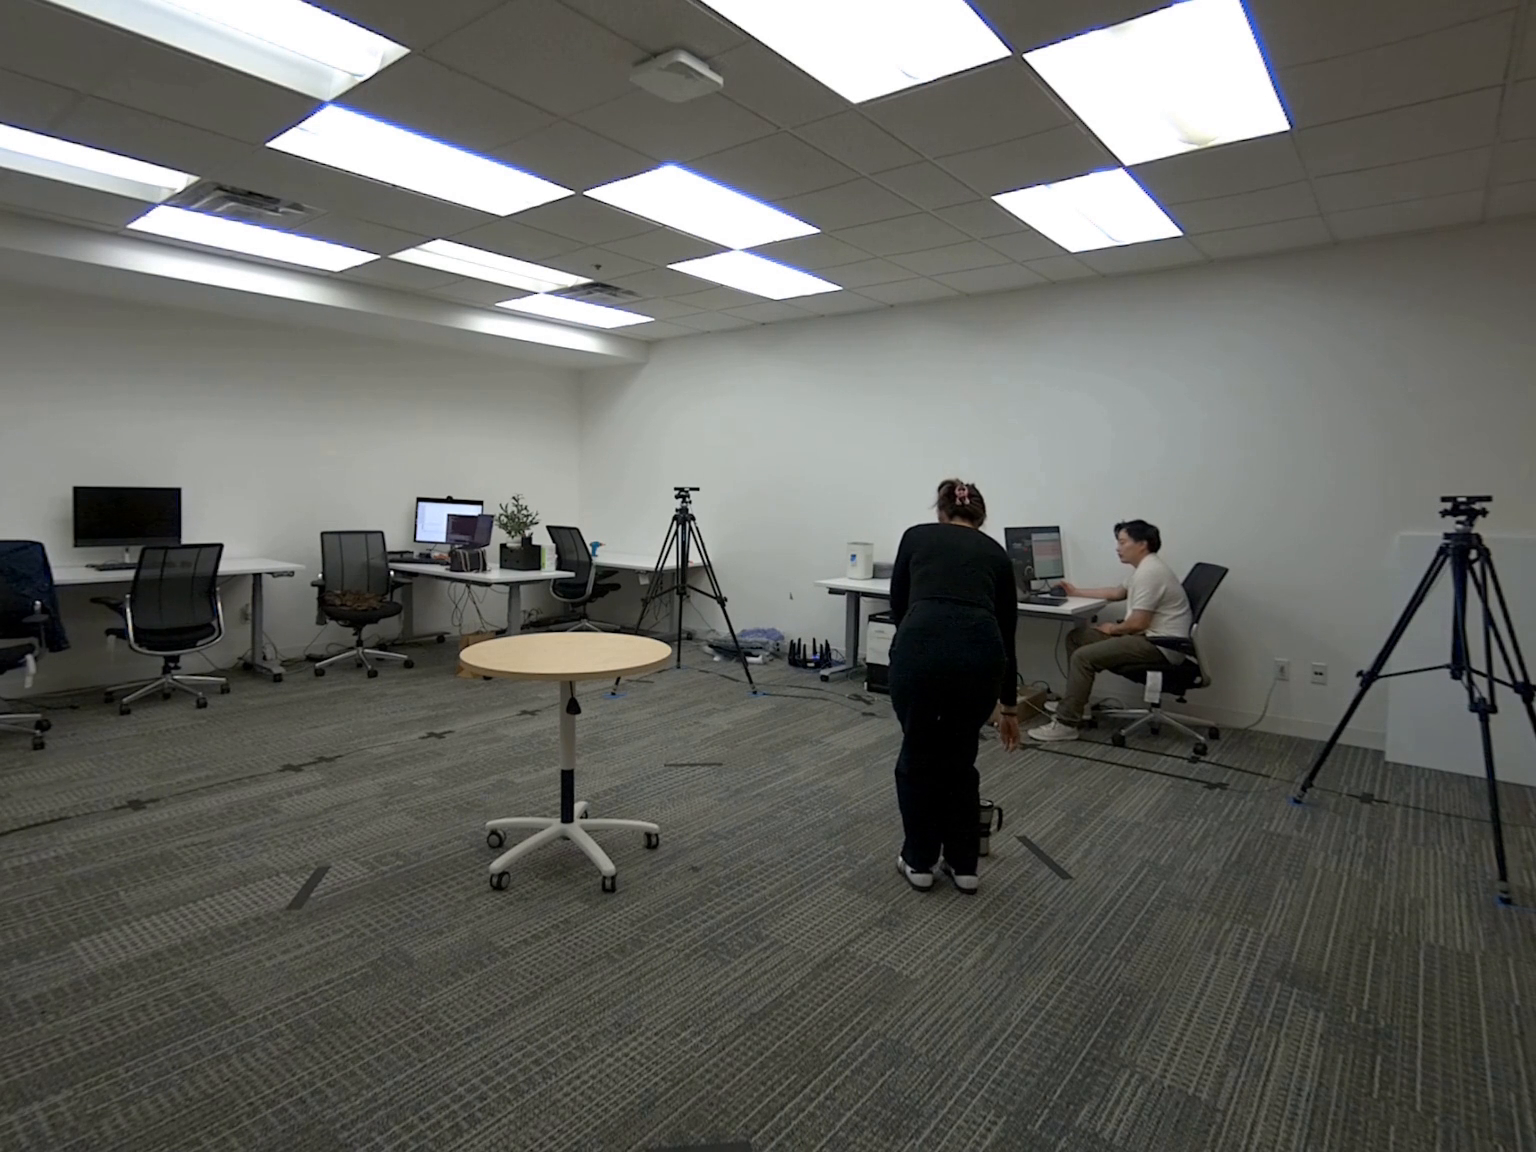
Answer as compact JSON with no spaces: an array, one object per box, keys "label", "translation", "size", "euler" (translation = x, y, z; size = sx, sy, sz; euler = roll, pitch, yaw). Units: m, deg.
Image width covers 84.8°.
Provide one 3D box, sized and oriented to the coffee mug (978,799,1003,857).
[{"label":"coffee mug","translation":[0.846,0.976,3.283],"size":[0.124,0.203,0.086],"euler":[0,-1,15]}]
